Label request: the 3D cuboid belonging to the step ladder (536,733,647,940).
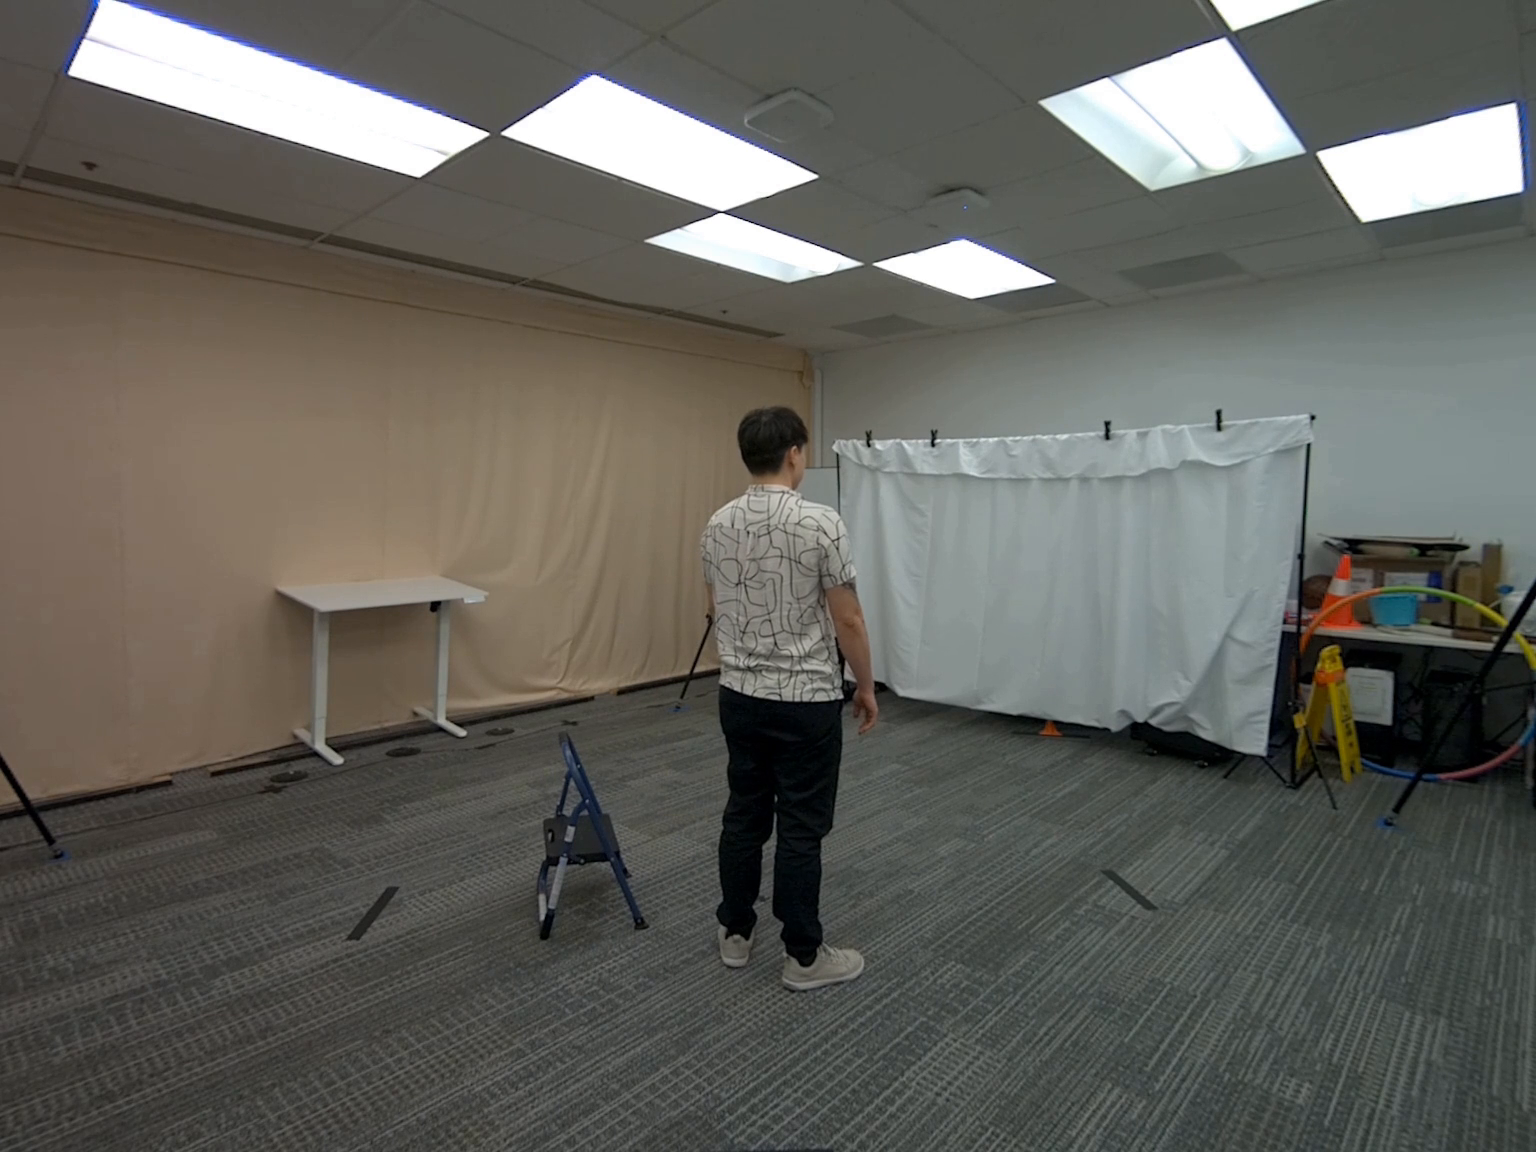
[{"bbox_3d":[-0.629,0.849,2.925,0.343,0.605,0.438,-1,3,-17],"label":"step ladder"}]
